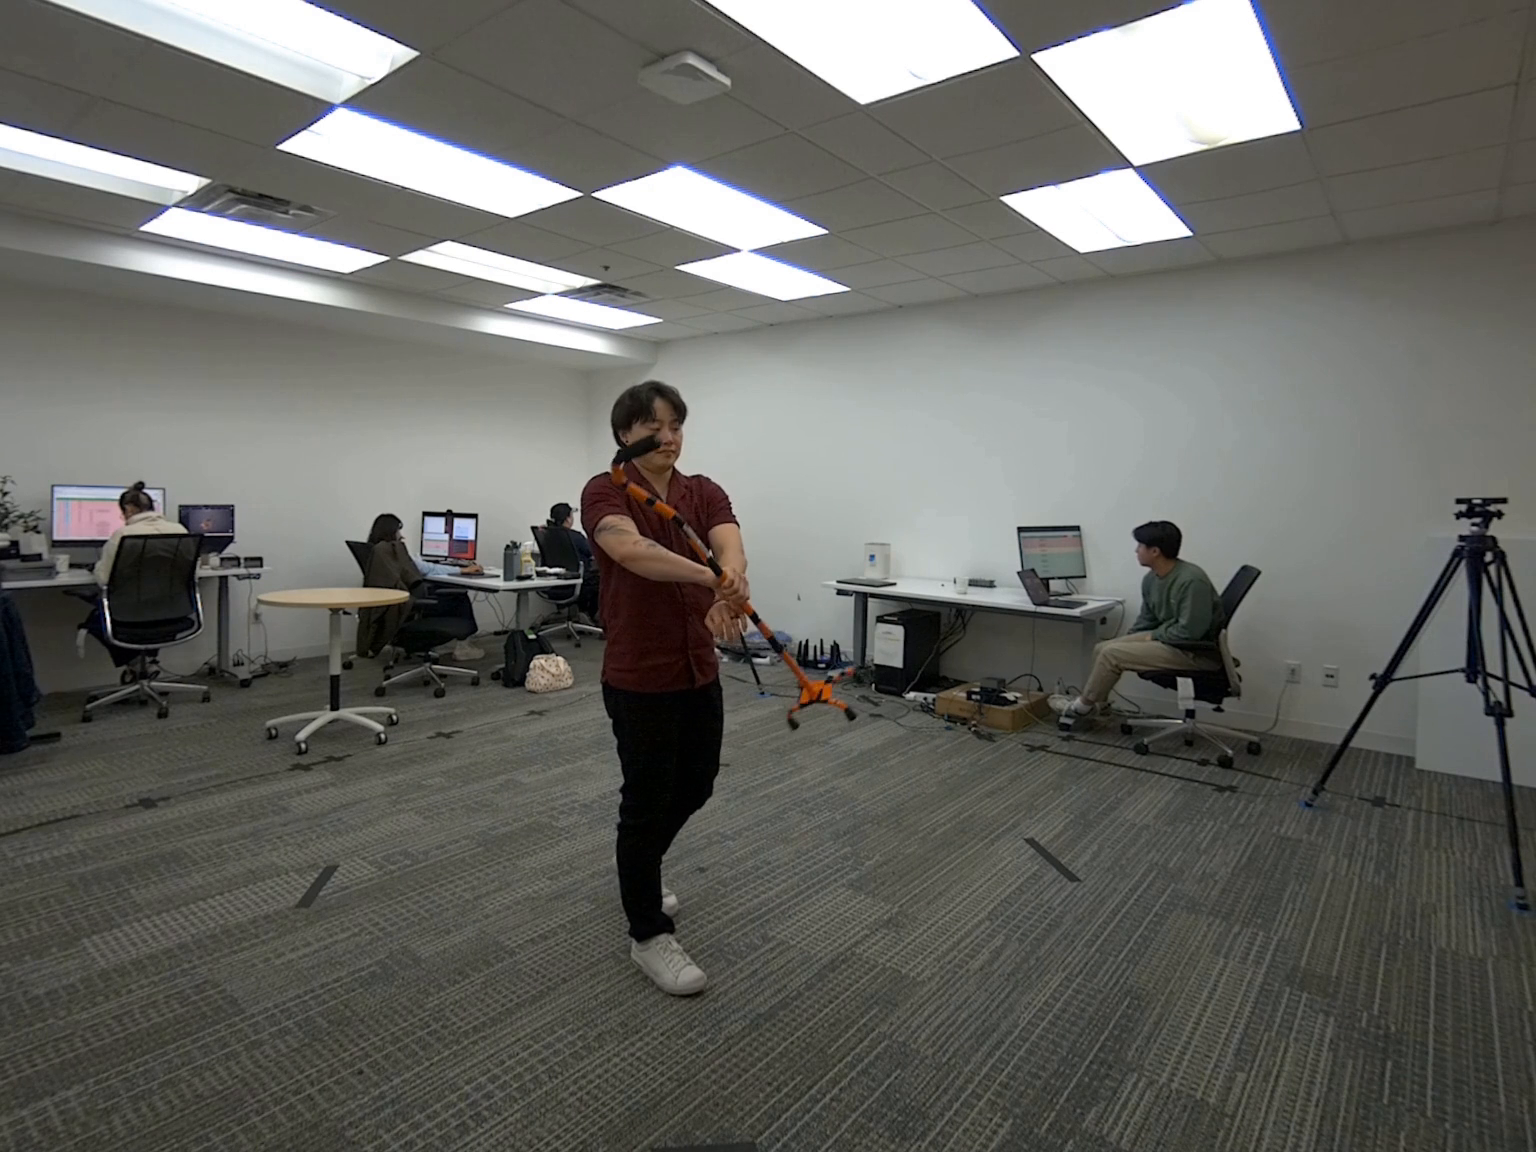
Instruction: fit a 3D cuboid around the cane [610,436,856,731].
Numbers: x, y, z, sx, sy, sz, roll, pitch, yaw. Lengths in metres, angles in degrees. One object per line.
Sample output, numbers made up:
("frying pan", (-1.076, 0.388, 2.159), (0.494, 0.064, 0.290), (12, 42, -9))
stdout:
("cane", (-0.088, 0.027, 2.081), (0.211, 0.878, 0.153), (-16, 32, 33))
